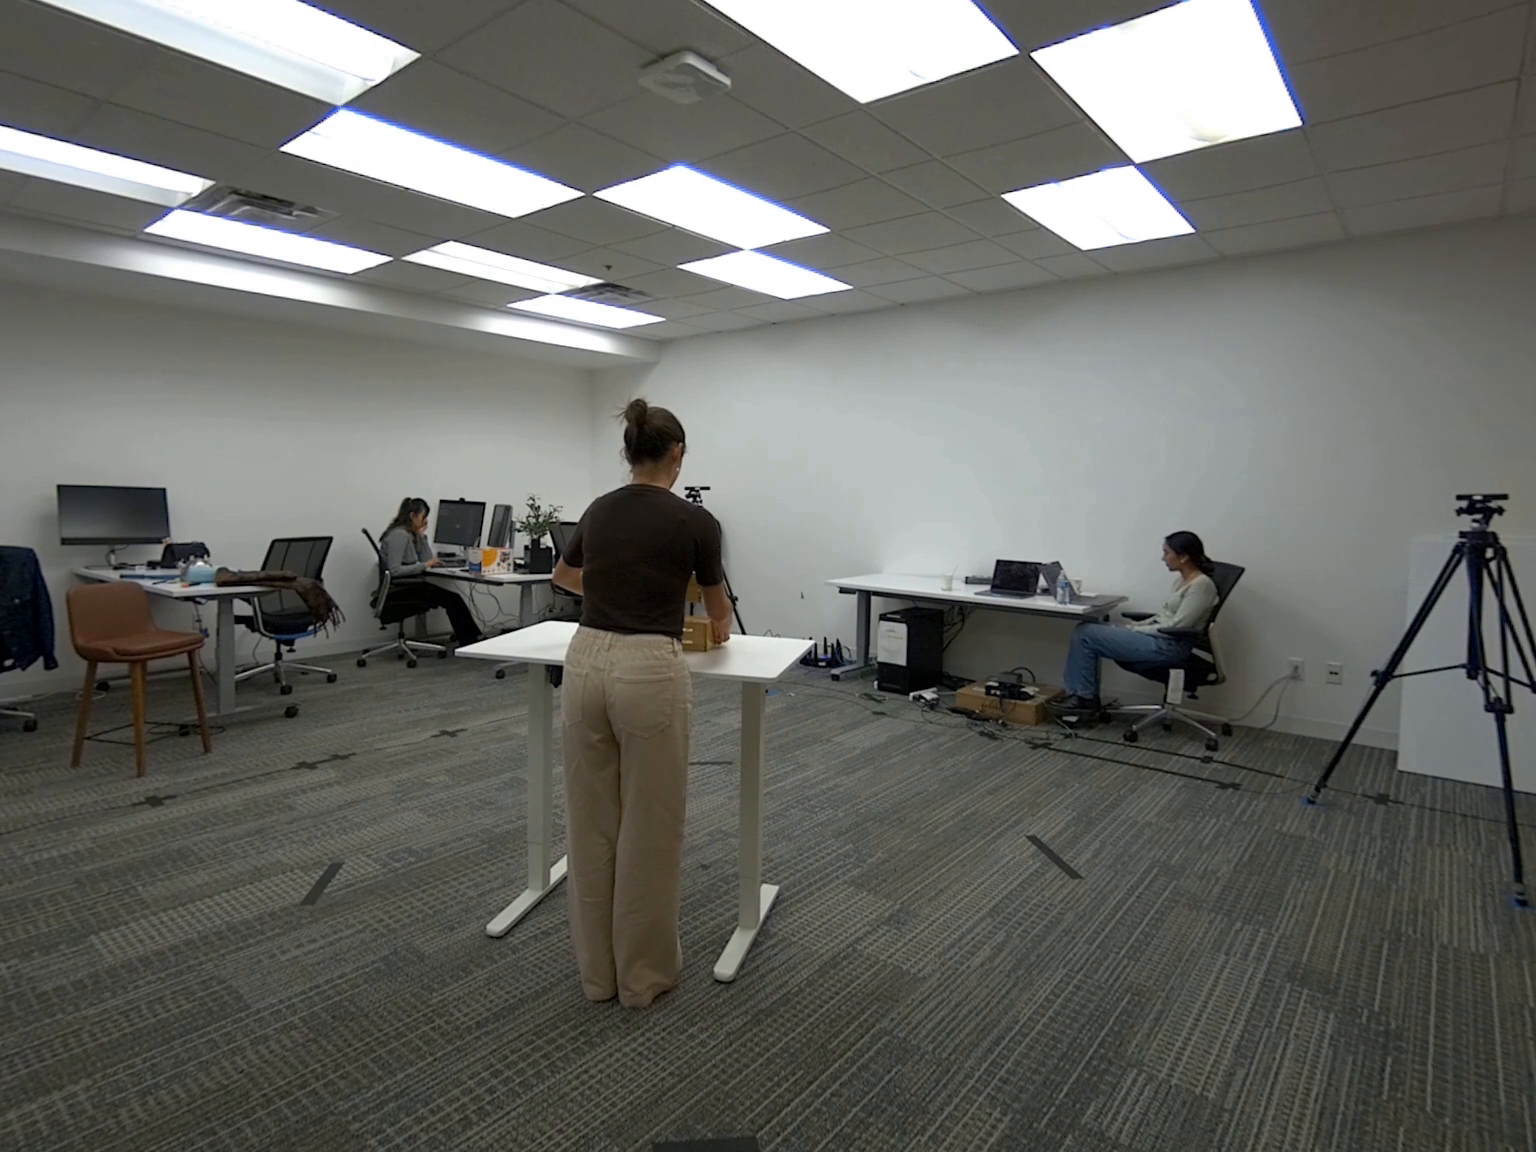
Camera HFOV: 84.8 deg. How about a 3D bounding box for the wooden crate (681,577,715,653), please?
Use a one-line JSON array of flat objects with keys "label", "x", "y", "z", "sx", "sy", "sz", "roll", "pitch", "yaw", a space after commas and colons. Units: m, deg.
[{"label": "wooden crate", "x": -0.317, "y": 0.079, "z": 2.741, "sx": 0.330, "sy": 0.271, "sz": 0.300, "roll": 2, "pitch": 10, "yaw": 15}]
